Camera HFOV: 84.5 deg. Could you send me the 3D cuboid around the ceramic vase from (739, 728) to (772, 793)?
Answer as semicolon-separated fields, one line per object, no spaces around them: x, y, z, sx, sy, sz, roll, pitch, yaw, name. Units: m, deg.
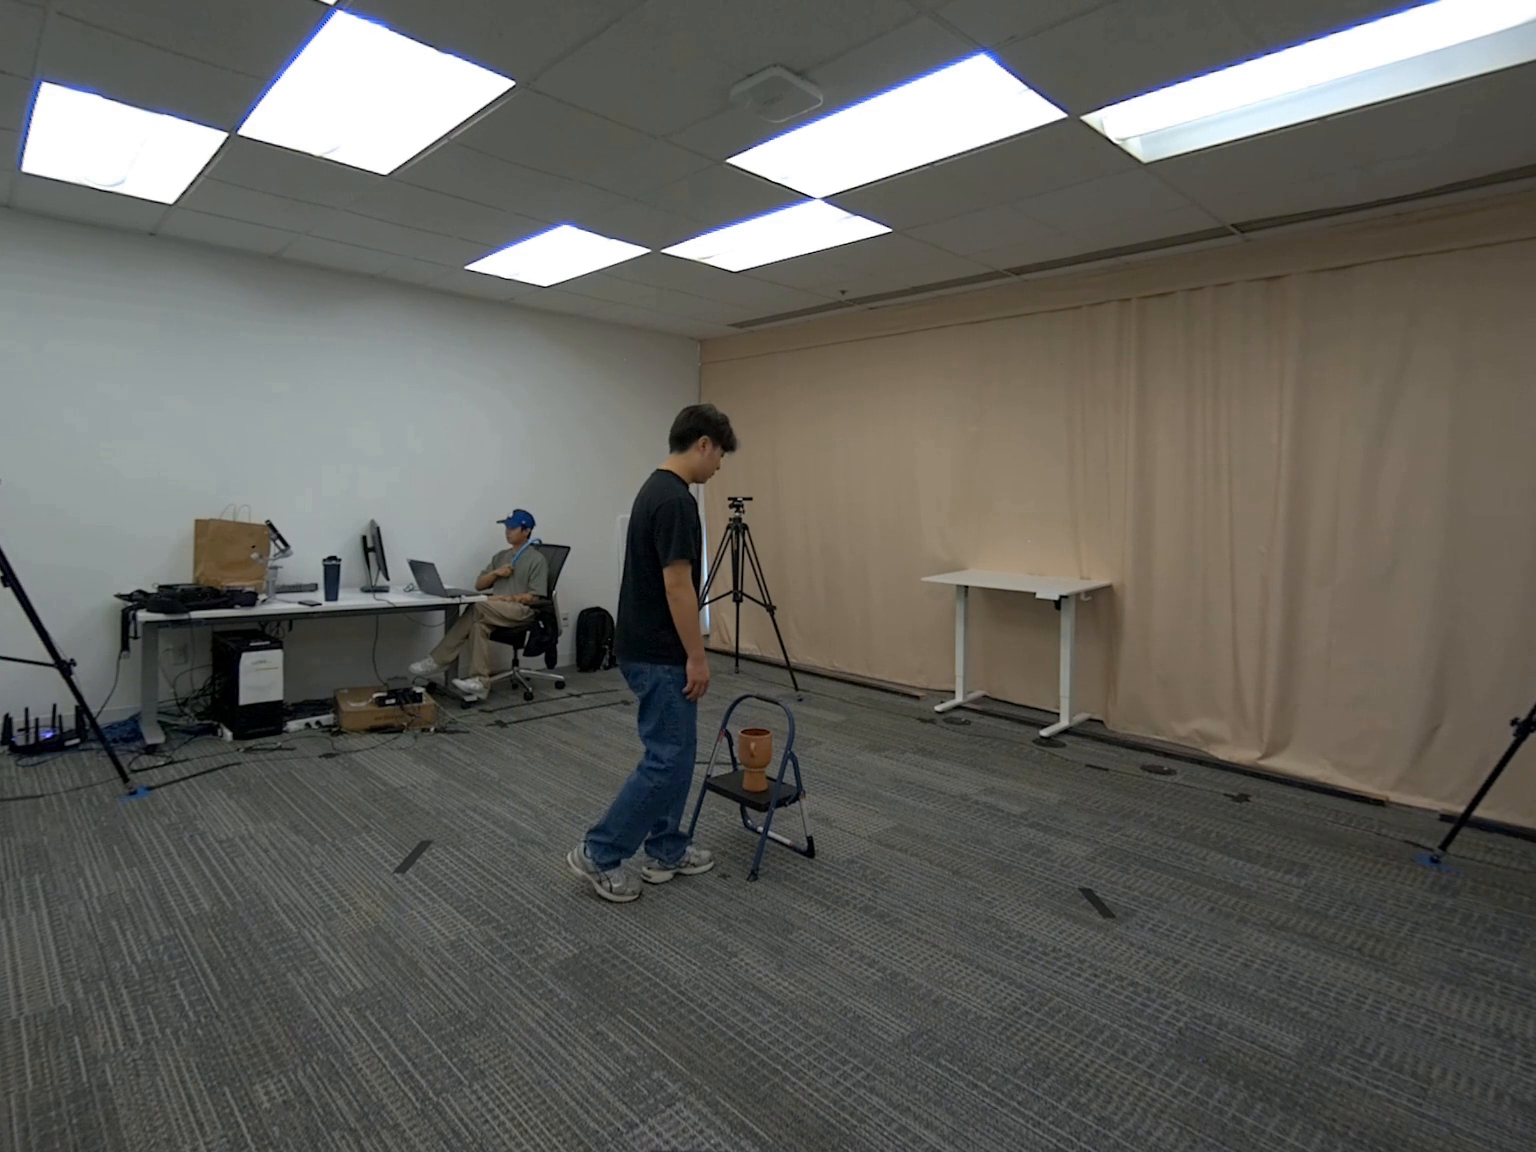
-0.053;0.721;3.299;0.155;0.219;0.138;-4;5;-43;ceramic vase
